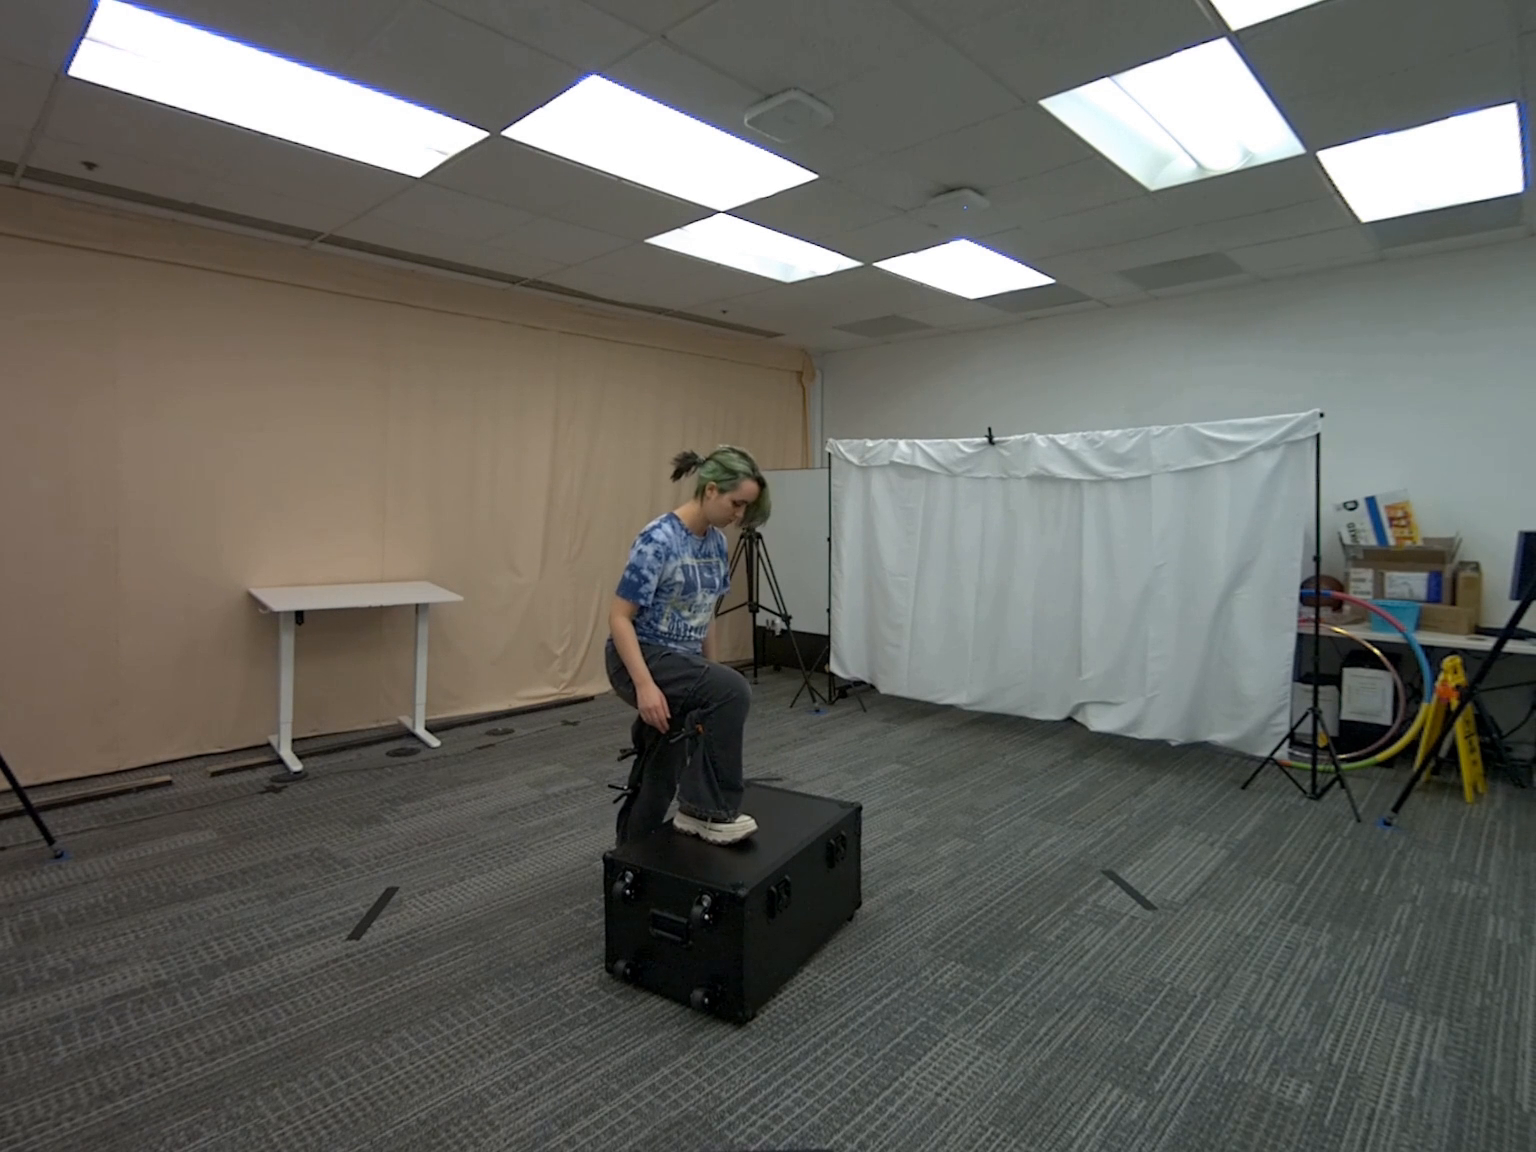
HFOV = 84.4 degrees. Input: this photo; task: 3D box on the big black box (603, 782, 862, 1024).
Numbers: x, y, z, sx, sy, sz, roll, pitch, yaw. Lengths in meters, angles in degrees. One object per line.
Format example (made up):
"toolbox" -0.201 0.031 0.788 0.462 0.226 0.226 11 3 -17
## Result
"big black box" -0.094 0.984 2.639 0.537 0.395 0.838 2 5 31
